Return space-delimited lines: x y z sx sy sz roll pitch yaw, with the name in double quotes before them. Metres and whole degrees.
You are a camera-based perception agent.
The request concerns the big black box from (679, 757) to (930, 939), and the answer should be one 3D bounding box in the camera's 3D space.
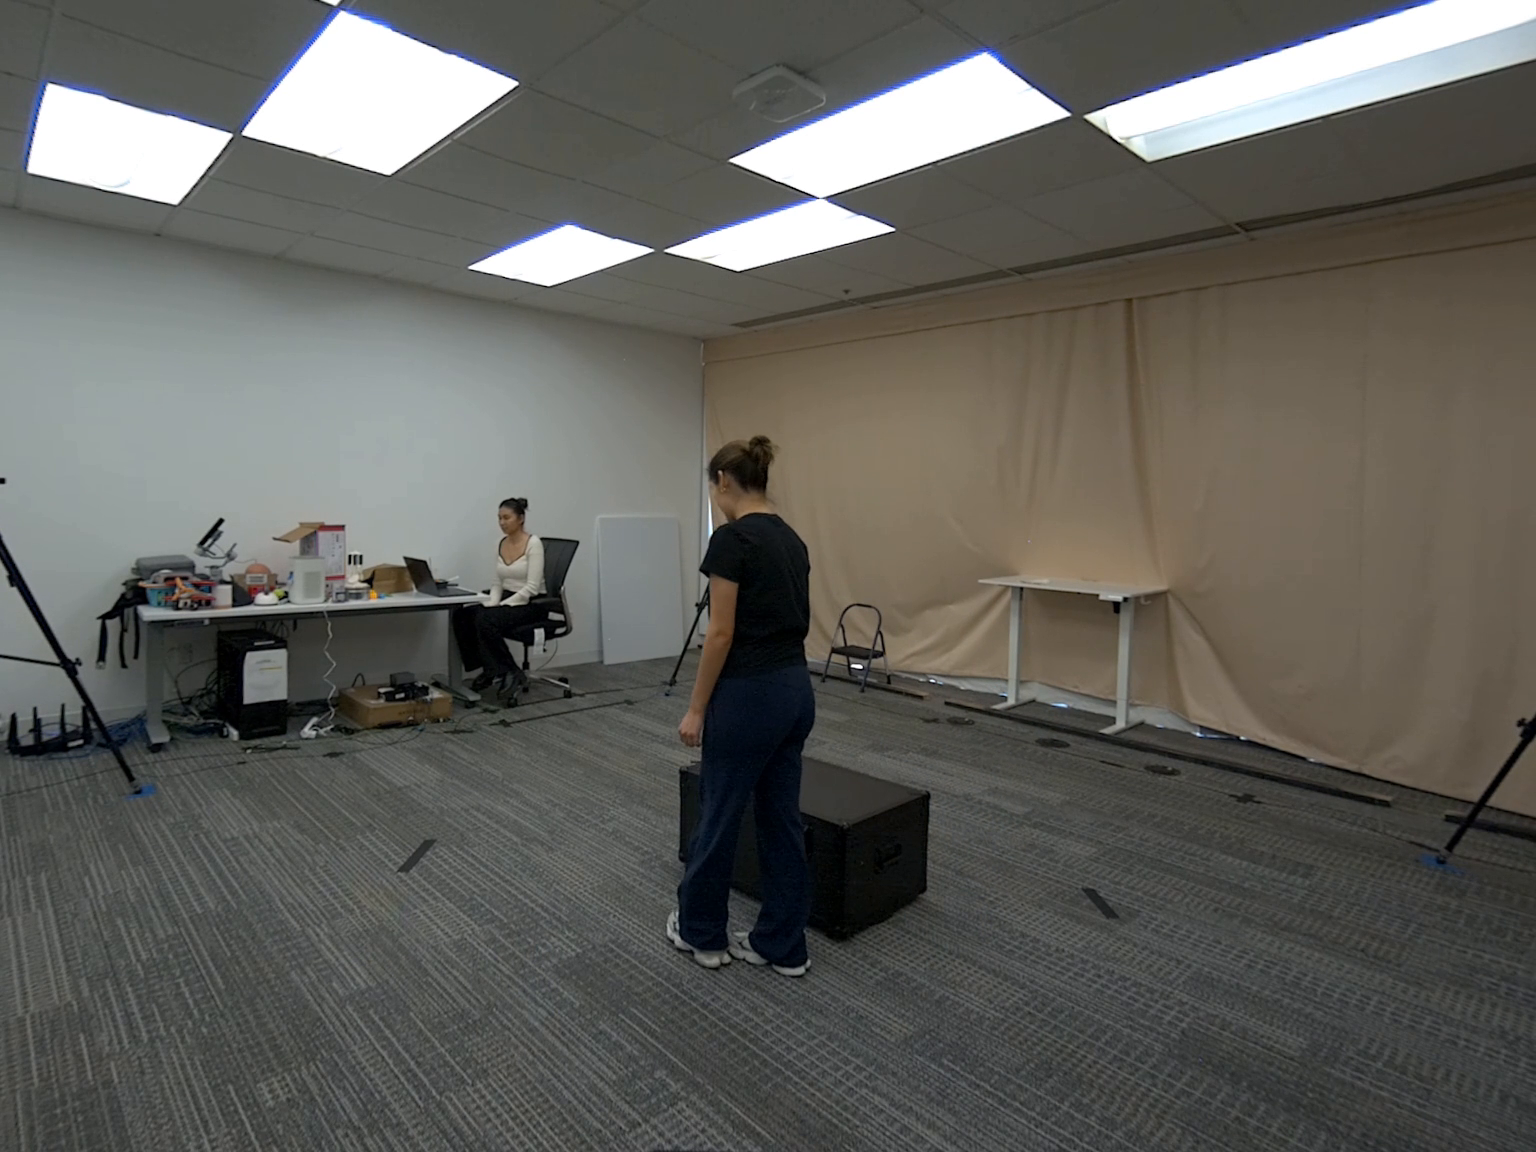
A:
"big black box" 0.087 0.925 3.072 0.884 0.395 0.509 6 7 43
